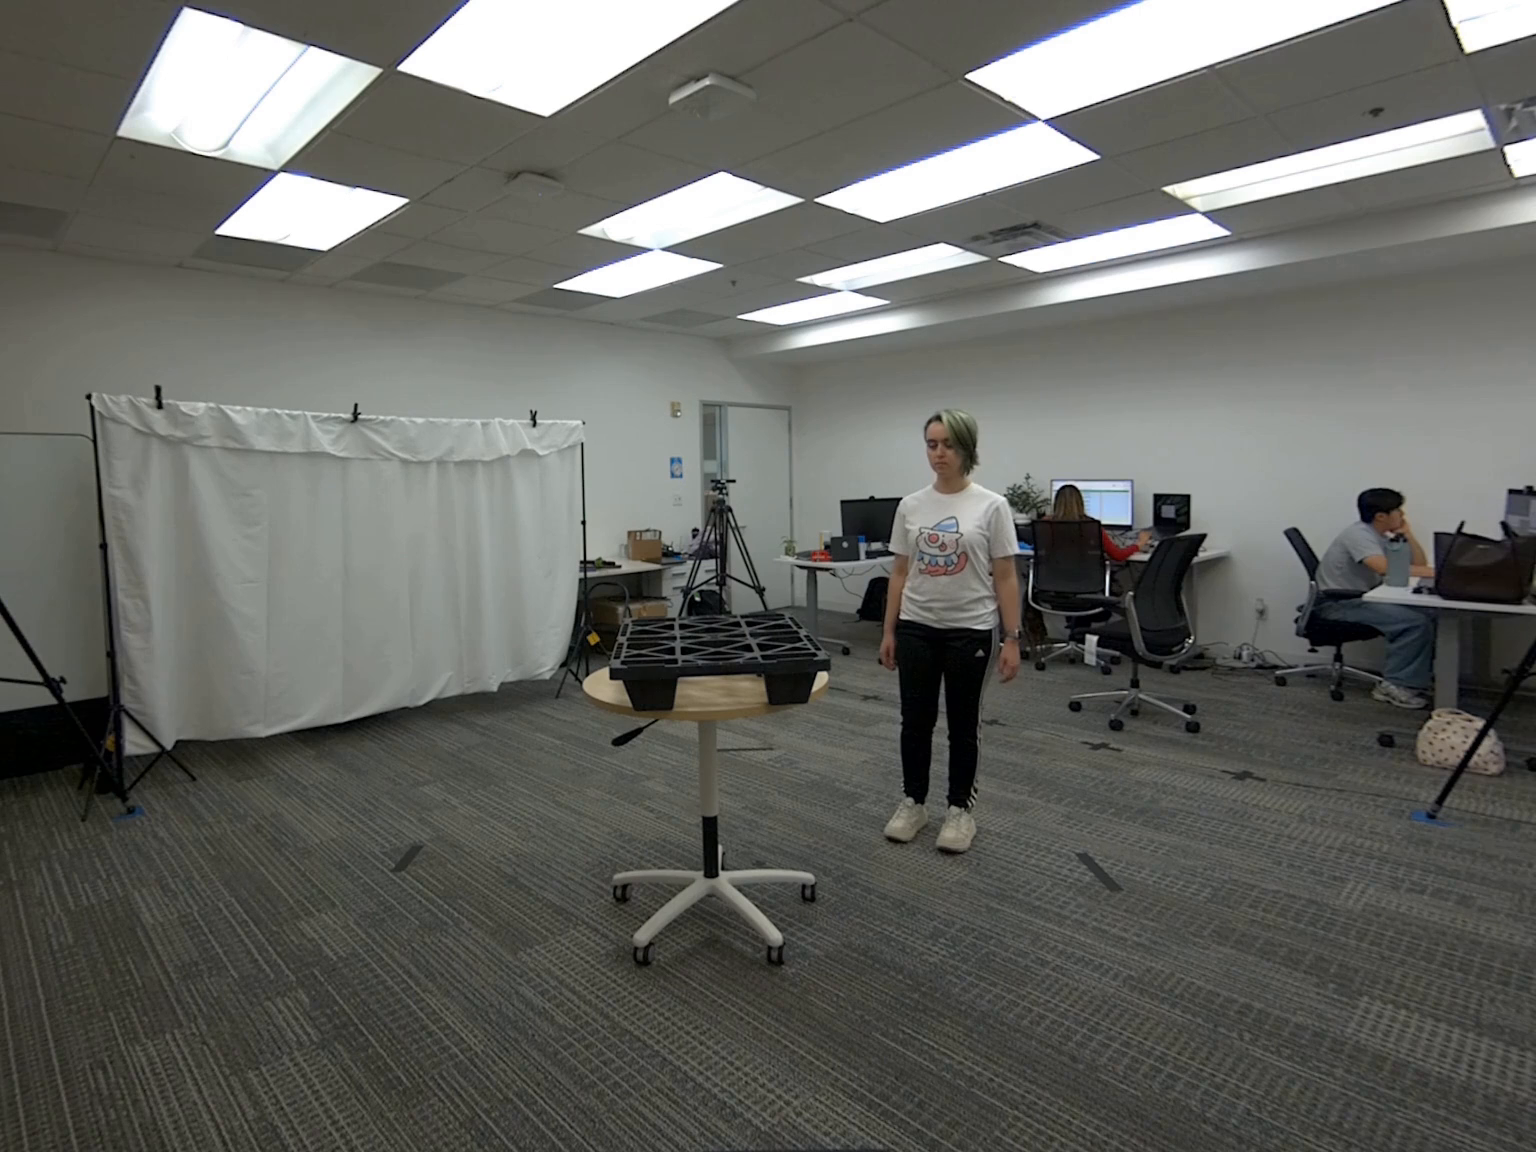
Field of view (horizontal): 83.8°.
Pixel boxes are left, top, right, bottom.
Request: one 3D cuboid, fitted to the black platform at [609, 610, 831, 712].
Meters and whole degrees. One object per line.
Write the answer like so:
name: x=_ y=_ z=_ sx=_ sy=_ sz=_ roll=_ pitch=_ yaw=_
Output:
black platform: x=-0.167 y=0.252 z=2.667 sx=0.602 sy=0.142 sz=0.813 roll=-3 pitch=6 yaw=-5
